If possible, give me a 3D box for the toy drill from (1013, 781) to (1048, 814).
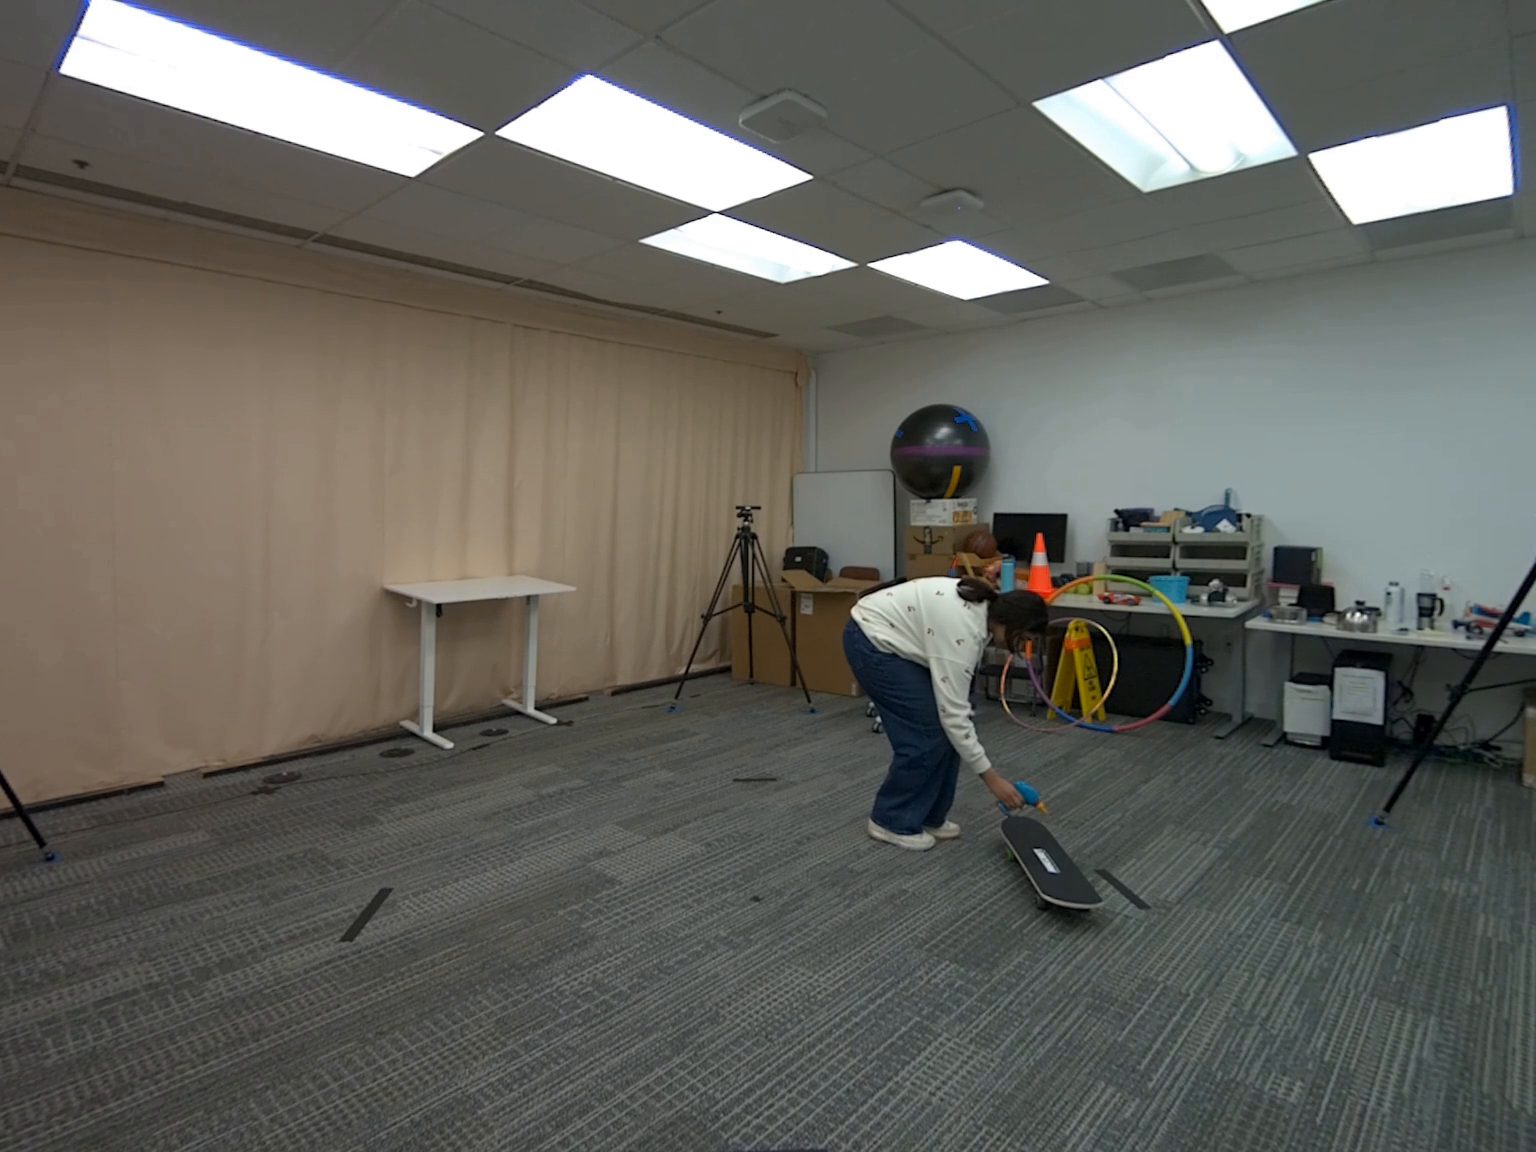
[{"bbox_3d":[0.987,0.882,3.235,0.146,0.170,0.061,-44,-1,10],"label":"toy drill"}]
